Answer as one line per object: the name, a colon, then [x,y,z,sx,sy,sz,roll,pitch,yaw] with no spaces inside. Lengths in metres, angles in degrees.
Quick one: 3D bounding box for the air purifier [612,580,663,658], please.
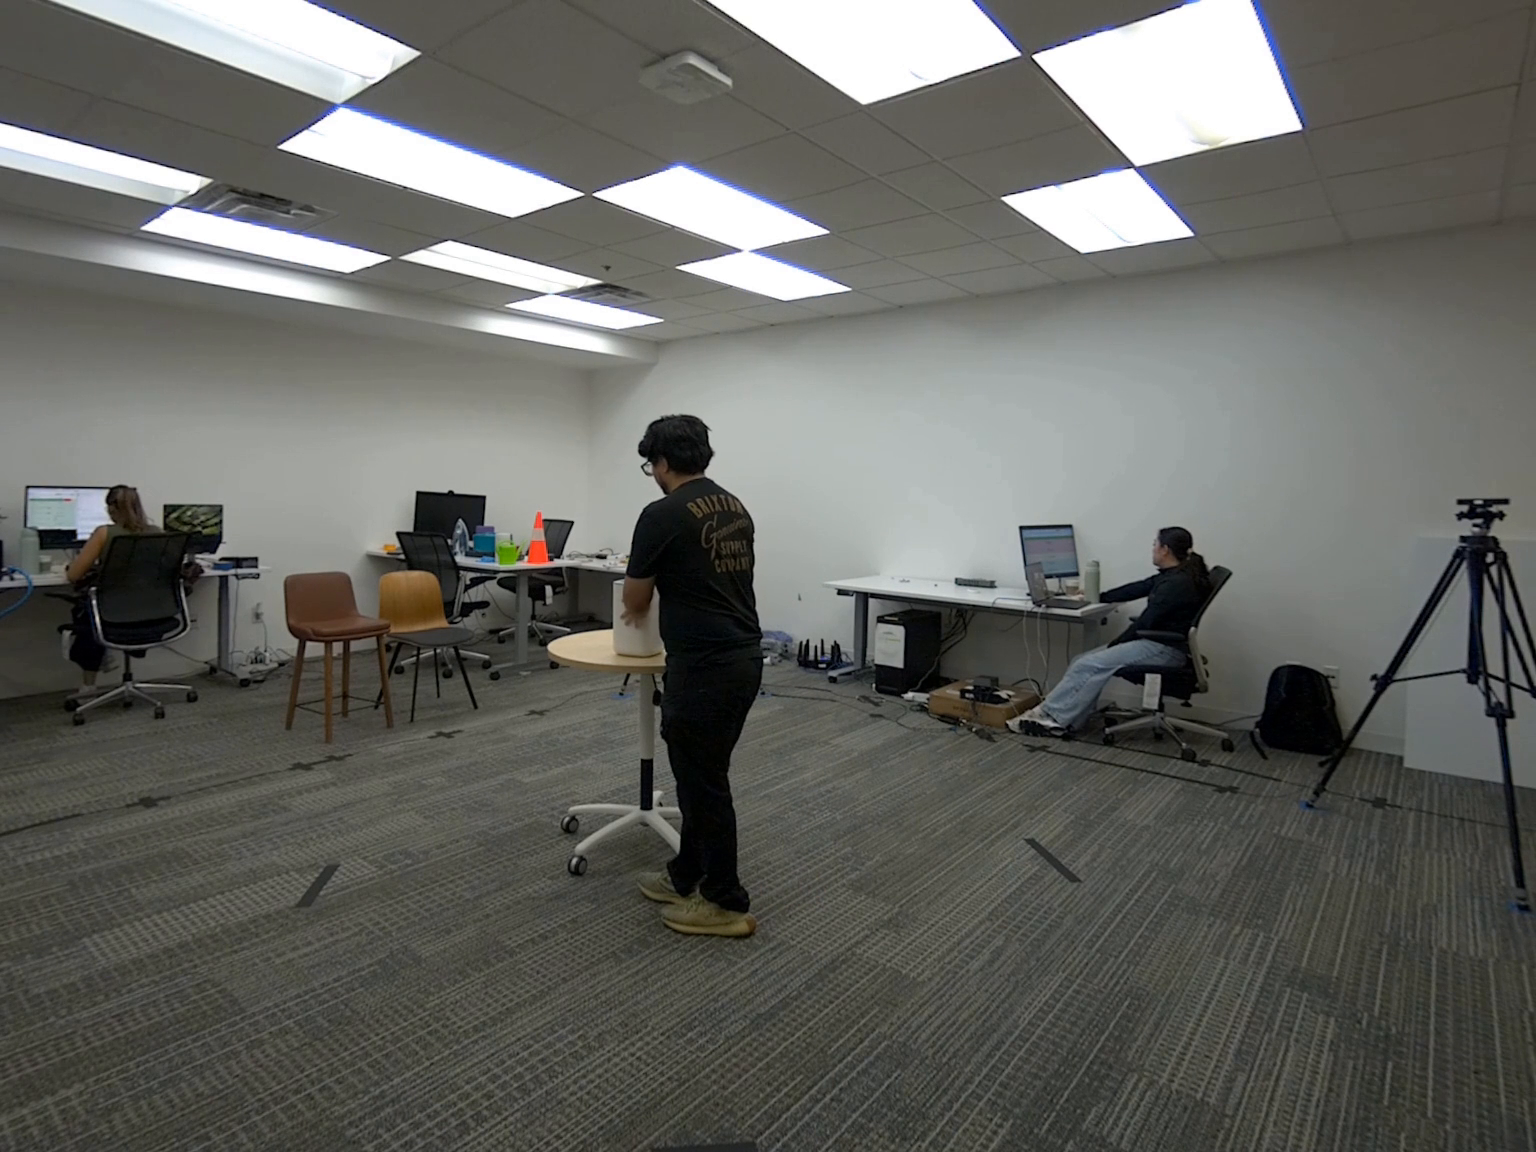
air purifier: [-0.476,0.147,3.115,0.175,0.264,0.168,1,4,21]
